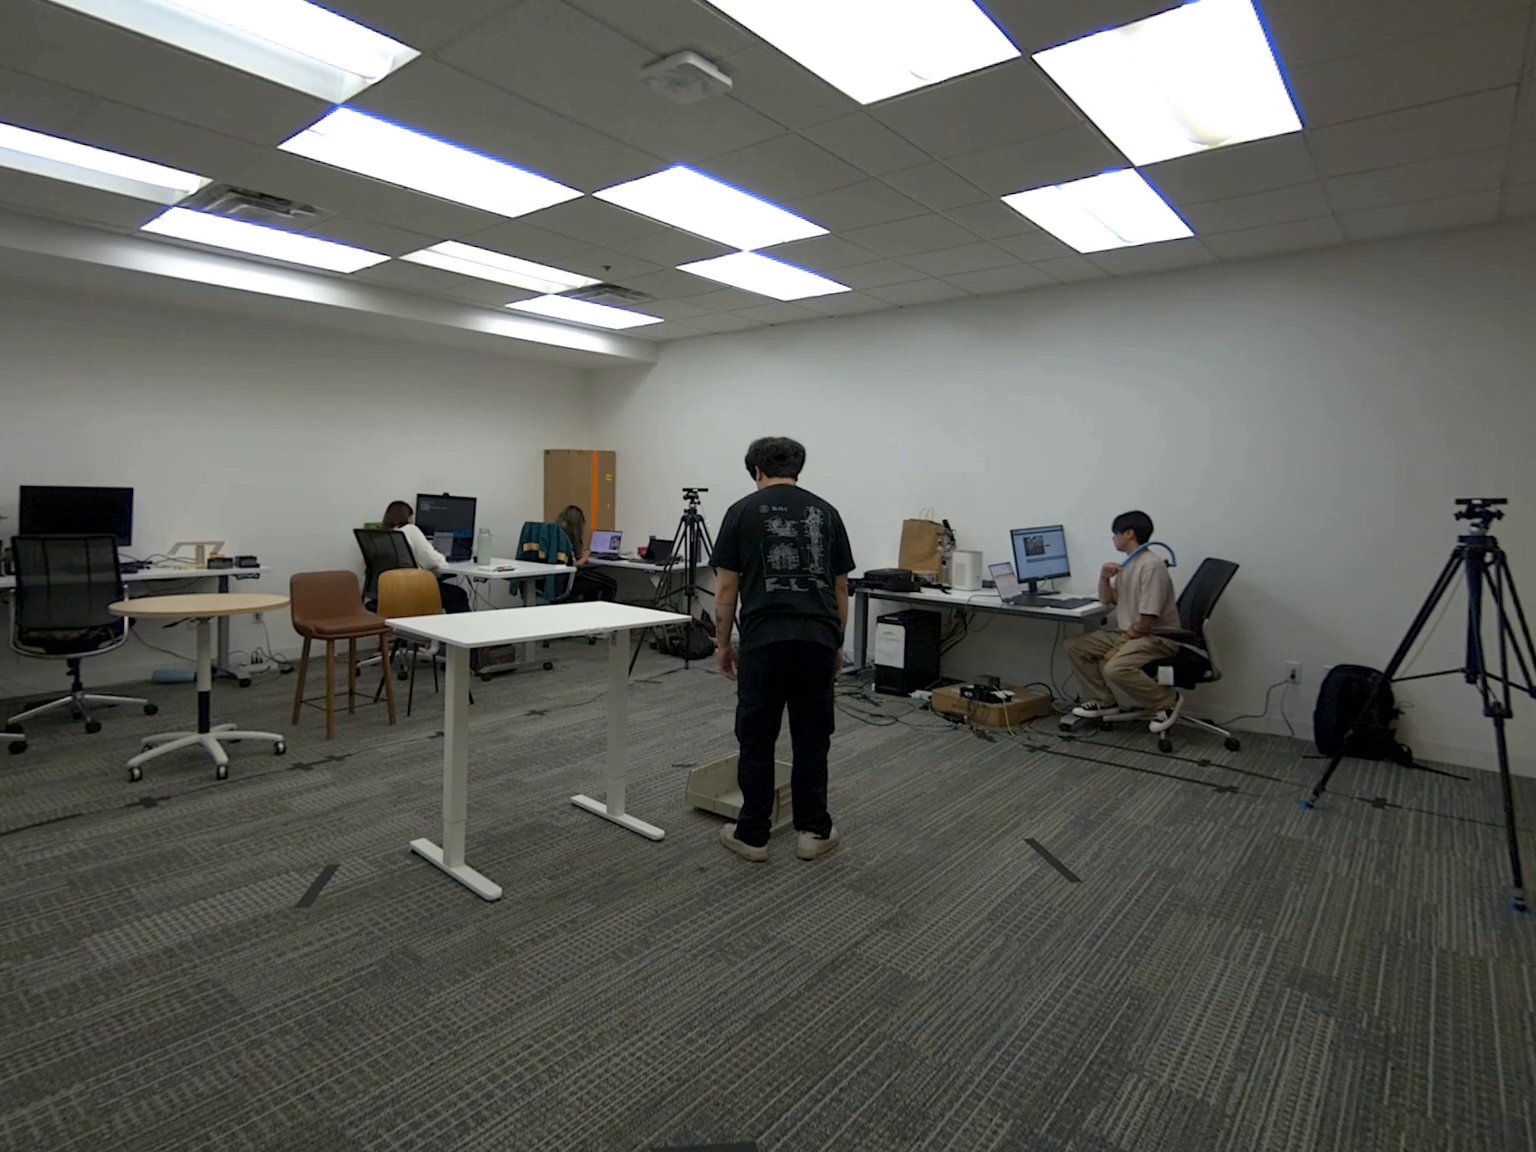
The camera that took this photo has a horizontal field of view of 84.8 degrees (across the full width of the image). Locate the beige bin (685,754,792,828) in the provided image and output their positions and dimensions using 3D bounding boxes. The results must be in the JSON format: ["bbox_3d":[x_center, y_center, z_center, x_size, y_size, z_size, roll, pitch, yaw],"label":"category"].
[{"bbox_3d":[-0.091,0.927,3.683,0.436,0.188,0.366,4,6,37],"label":"beige bin"}]
